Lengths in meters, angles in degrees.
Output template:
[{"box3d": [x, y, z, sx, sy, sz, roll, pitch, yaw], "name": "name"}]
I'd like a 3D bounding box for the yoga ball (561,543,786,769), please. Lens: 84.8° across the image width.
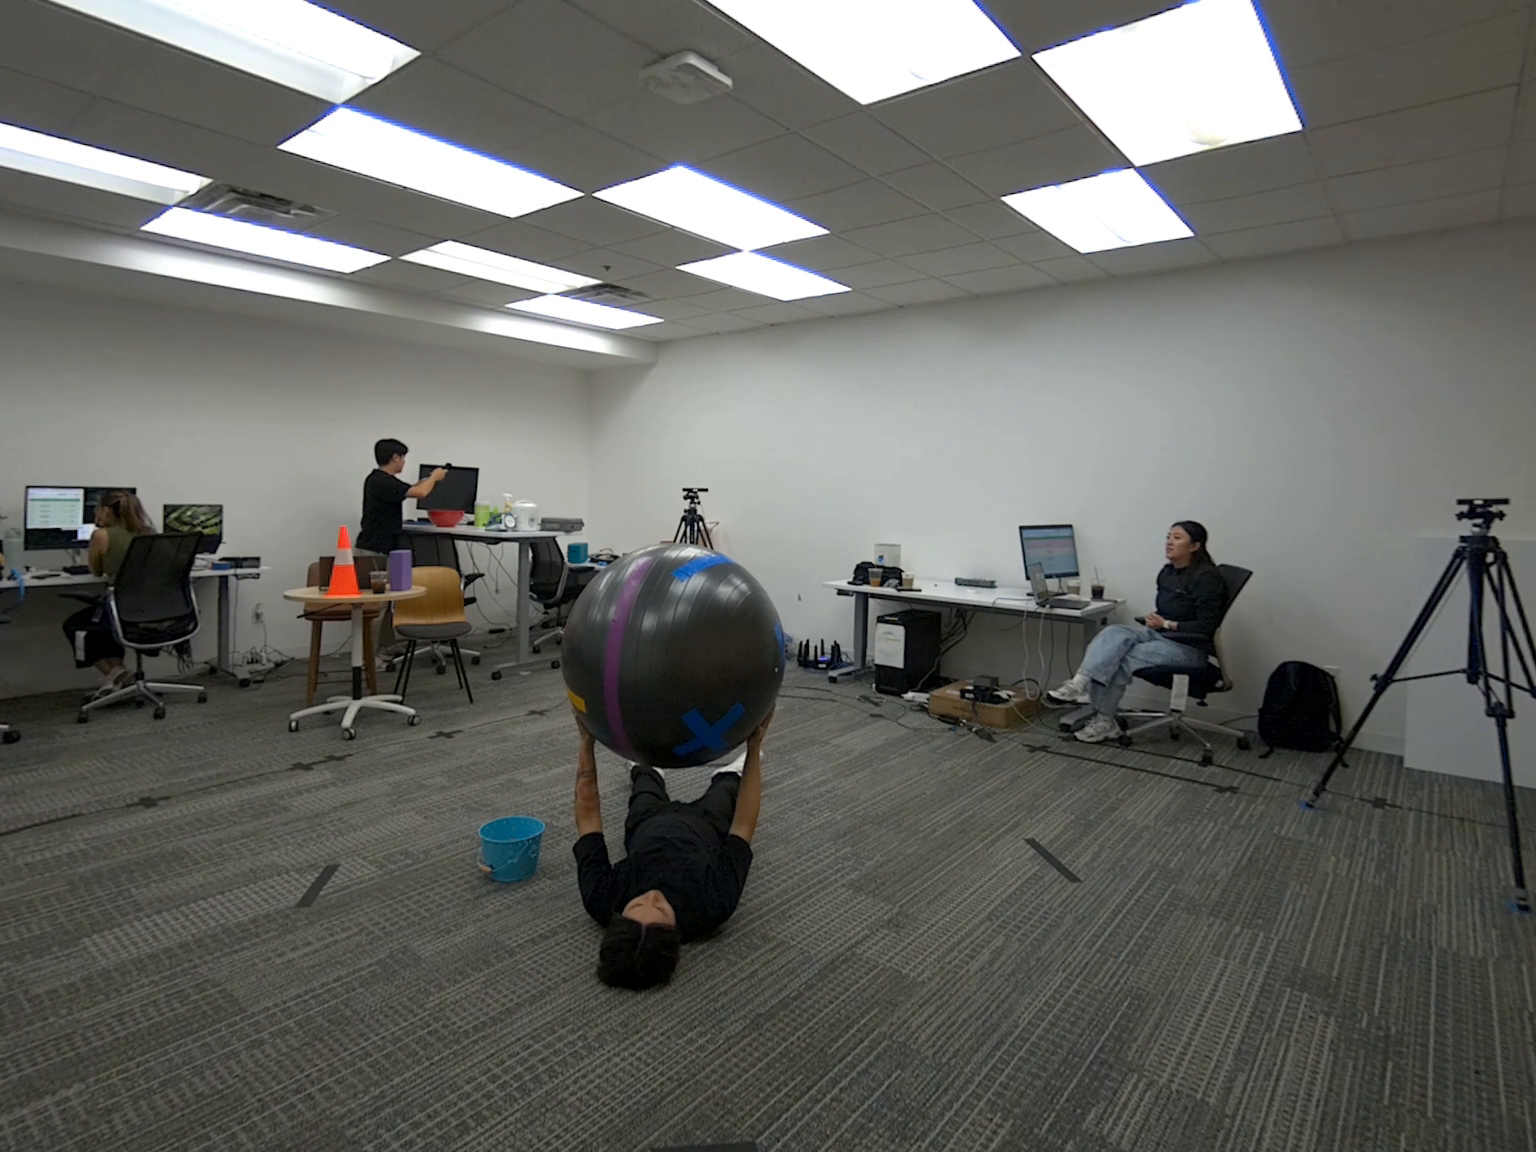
[{"box3d": [-0.330, 0.272, 2.904, 0.757, 0.755, 0.762, 1, 4, -2], "name": "yoga ball"}]
